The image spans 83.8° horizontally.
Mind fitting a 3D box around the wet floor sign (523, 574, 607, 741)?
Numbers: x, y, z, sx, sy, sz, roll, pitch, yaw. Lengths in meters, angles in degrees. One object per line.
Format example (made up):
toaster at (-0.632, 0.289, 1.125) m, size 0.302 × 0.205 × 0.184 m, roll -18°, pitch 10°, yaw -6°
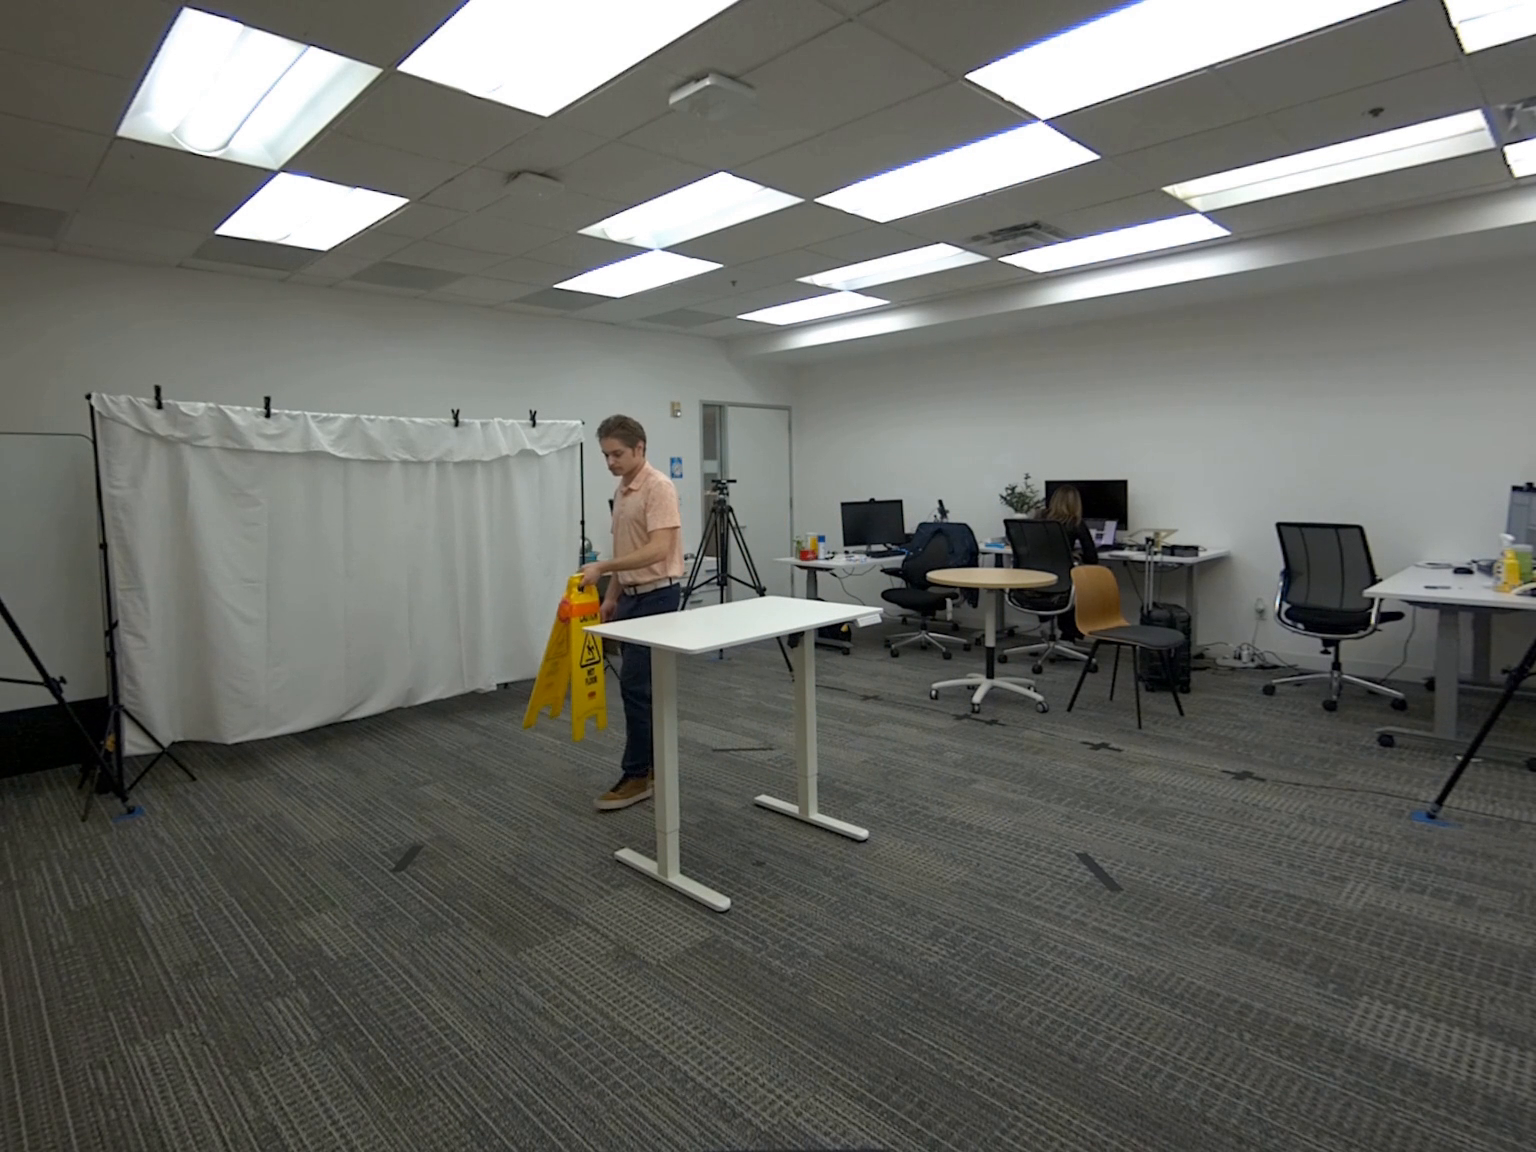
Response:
wet floor sign at (-0.807, 0.316, 3.529) m, size 0.295 × 0.645 × 0.277 m, roll 8°, pitch 2°, yaw 17°
